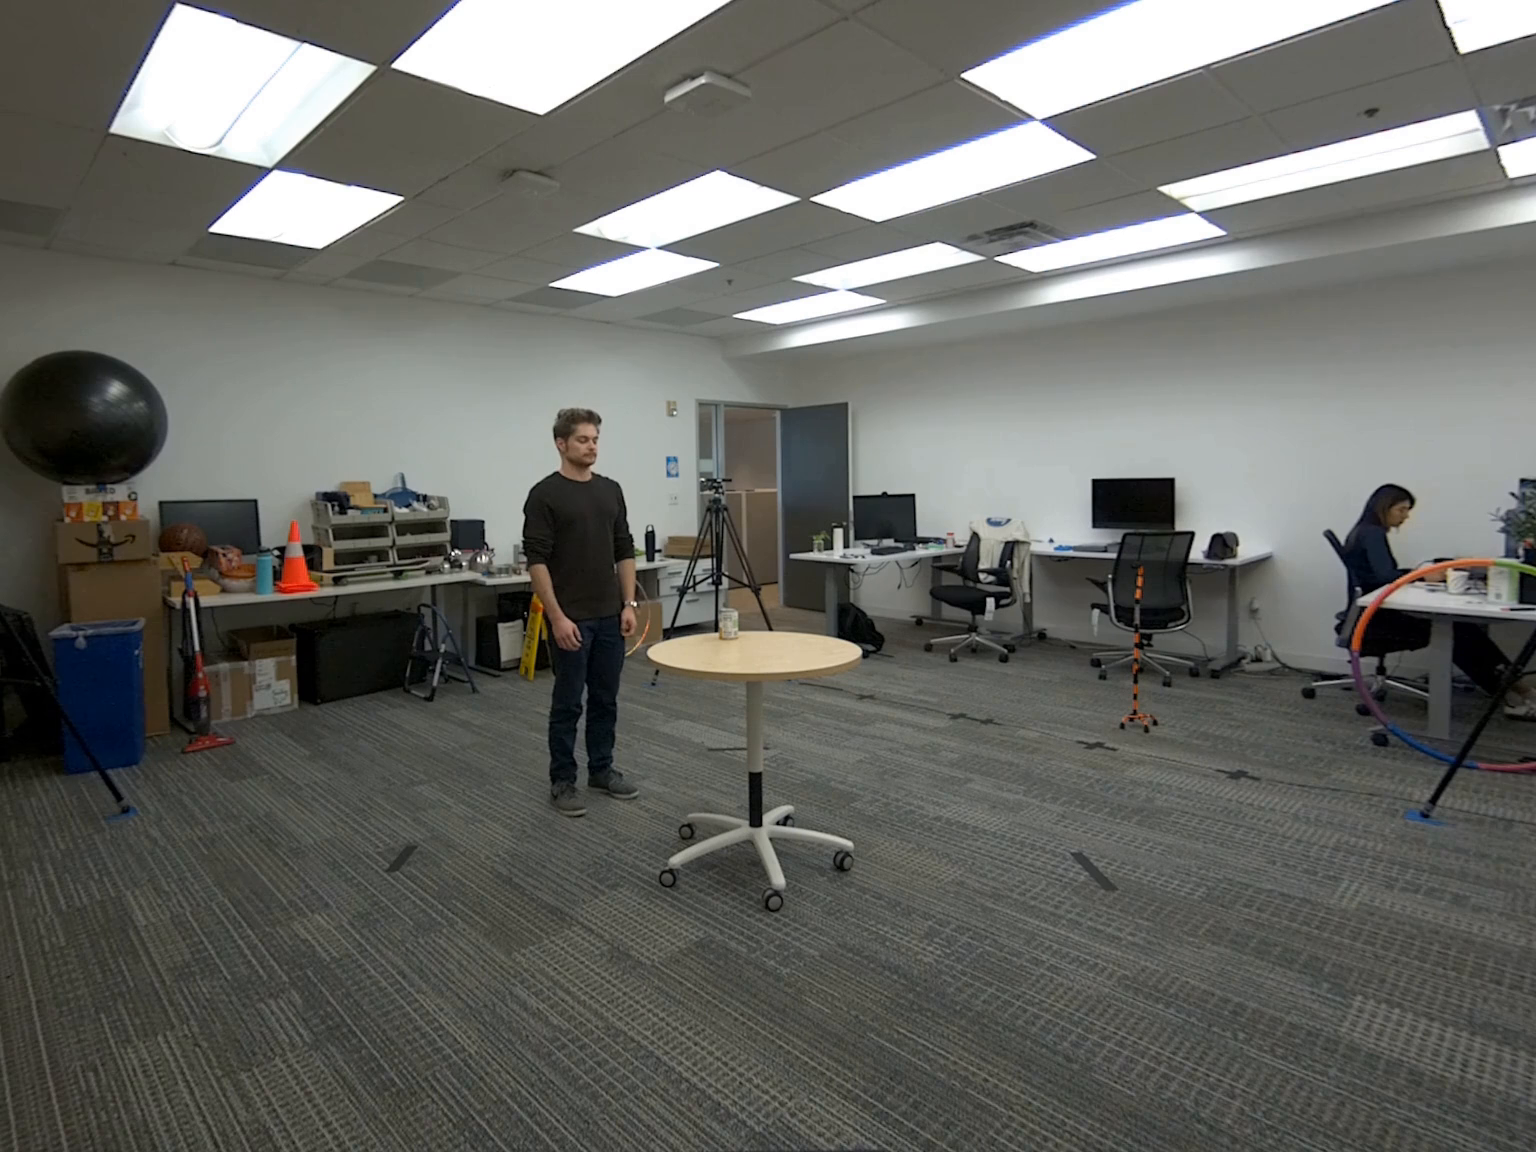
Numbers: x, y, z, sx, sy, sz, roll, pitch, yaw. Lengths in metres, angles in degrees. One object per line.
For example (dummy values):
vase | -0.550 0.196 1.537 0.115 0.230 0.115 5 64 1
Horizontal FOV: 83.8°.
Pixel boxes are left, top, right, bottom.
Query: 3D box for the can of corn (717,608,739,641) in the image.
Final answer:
can of corn | -0.151 0.185 3.289 0.074 0.111 0.074 -1 1 -2
